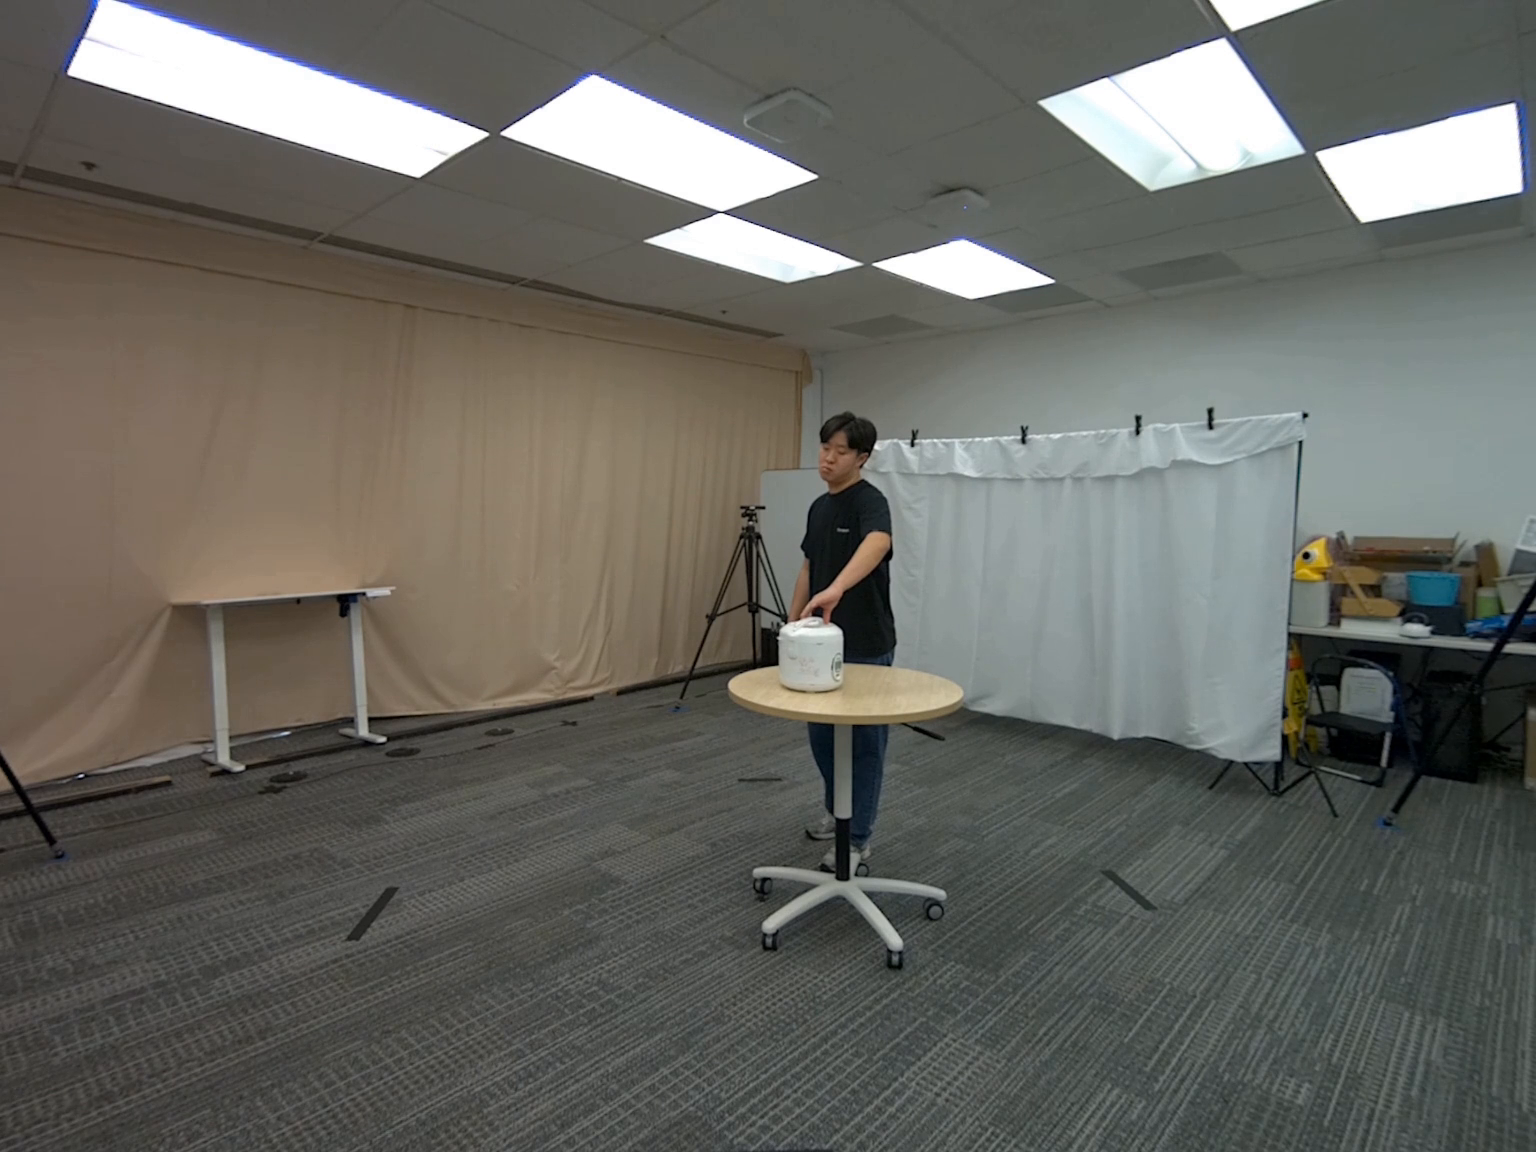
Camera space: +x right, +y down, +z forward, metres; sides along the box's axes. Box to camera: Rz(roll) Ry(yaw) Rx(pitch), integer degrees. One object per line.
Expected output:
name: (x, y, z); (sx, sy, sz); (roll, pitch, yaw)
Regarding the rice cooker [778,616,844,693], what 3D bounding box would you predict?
rice cooker: (0.145, 0.251, 2.764); (0.224, 0.232, 0.214); (2, 5, 40)
